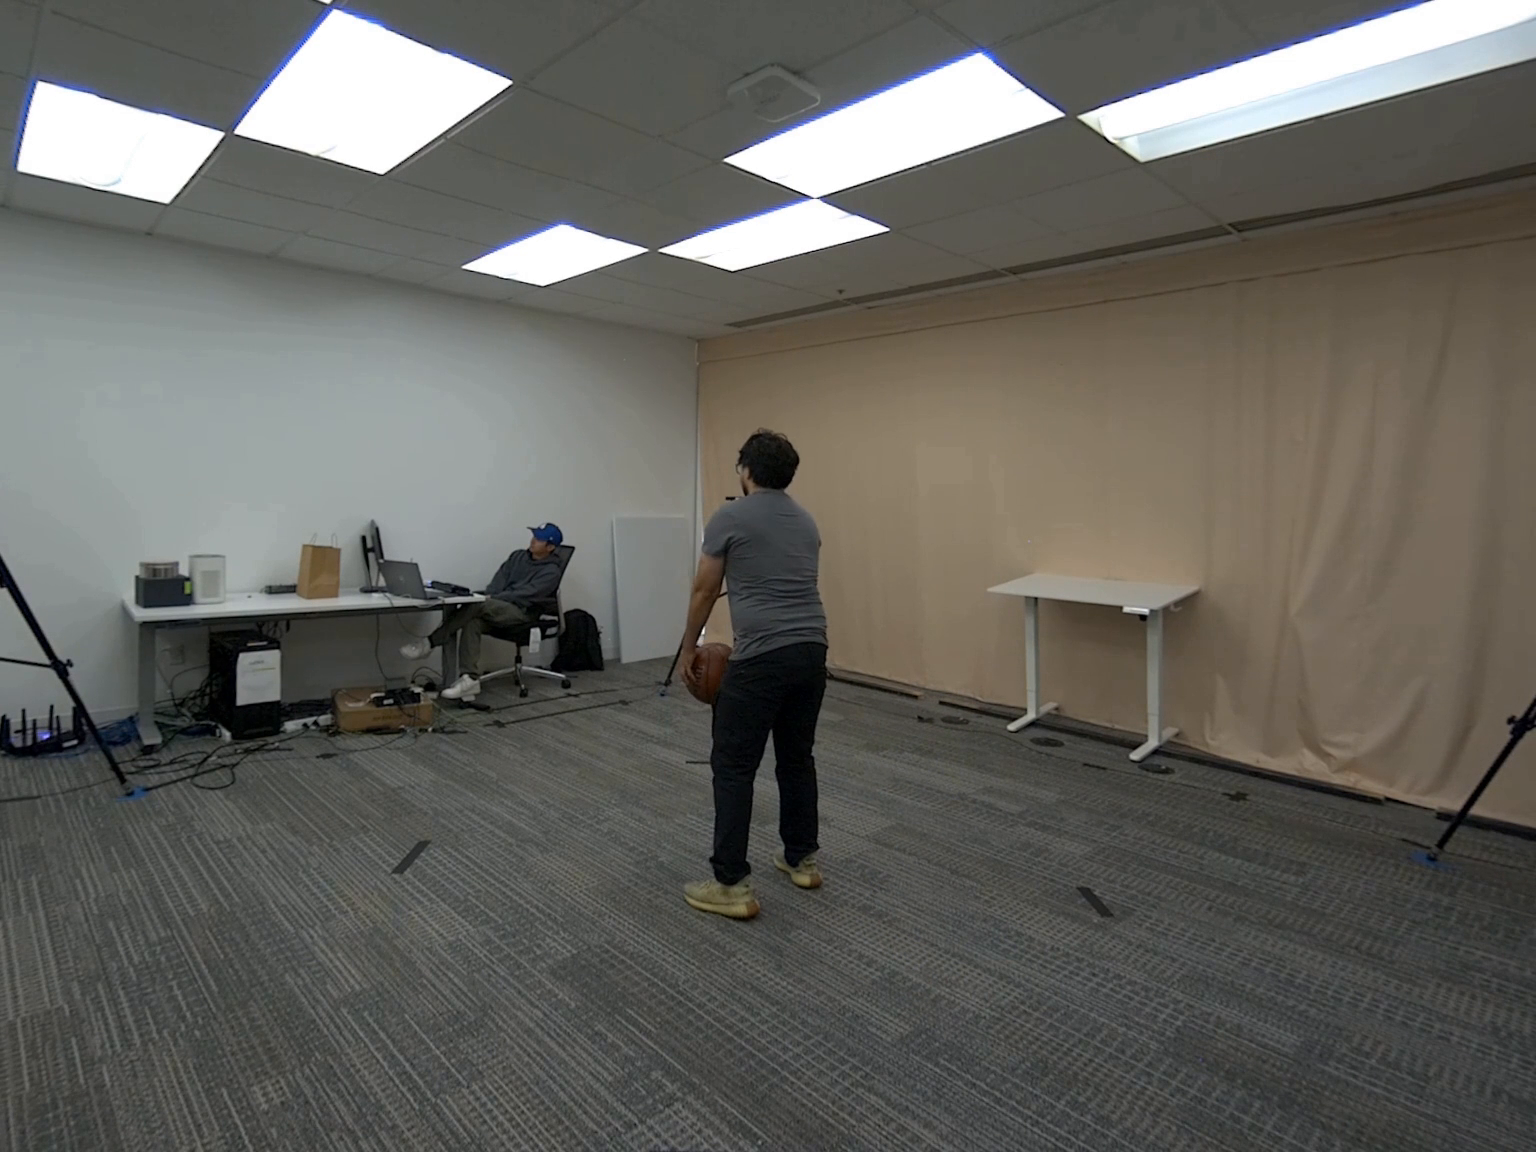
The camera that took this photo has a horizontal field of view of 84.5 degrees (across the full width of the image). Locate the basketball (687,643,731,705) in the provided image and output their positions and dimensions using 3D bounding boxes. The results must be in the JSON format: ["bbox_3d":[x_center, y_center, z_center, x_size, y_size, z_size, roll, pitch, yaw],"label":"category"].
[{"bbox_3d":[-0.210,0.373,3.271,0.236,0.235,0.237,1,4,-1],"label":"basketball"}]
